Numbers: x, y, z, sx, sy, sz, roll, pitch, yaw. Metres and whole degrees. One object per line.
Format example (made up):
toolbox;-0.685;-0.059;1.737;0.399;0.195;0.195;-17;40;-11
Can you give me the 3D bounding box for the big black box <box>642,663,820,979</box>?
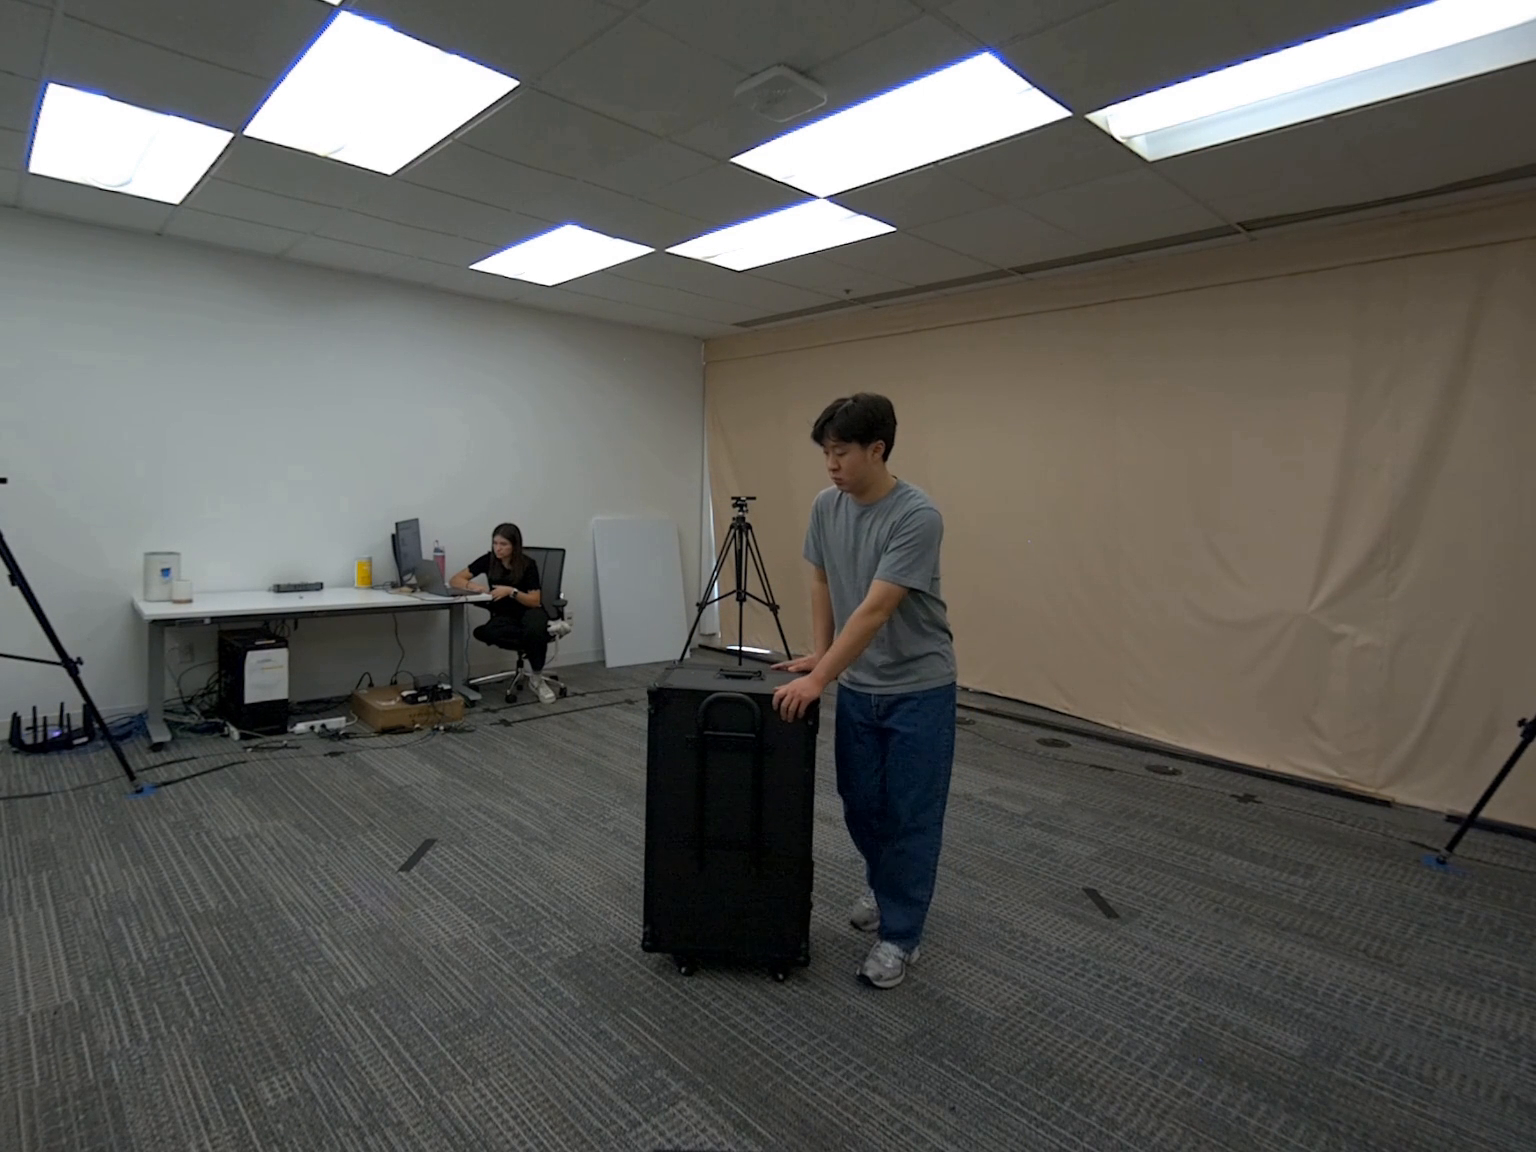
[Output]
big black box;-0.099;0.731;2.547;0.524;0.859;0.395;2;4;6
